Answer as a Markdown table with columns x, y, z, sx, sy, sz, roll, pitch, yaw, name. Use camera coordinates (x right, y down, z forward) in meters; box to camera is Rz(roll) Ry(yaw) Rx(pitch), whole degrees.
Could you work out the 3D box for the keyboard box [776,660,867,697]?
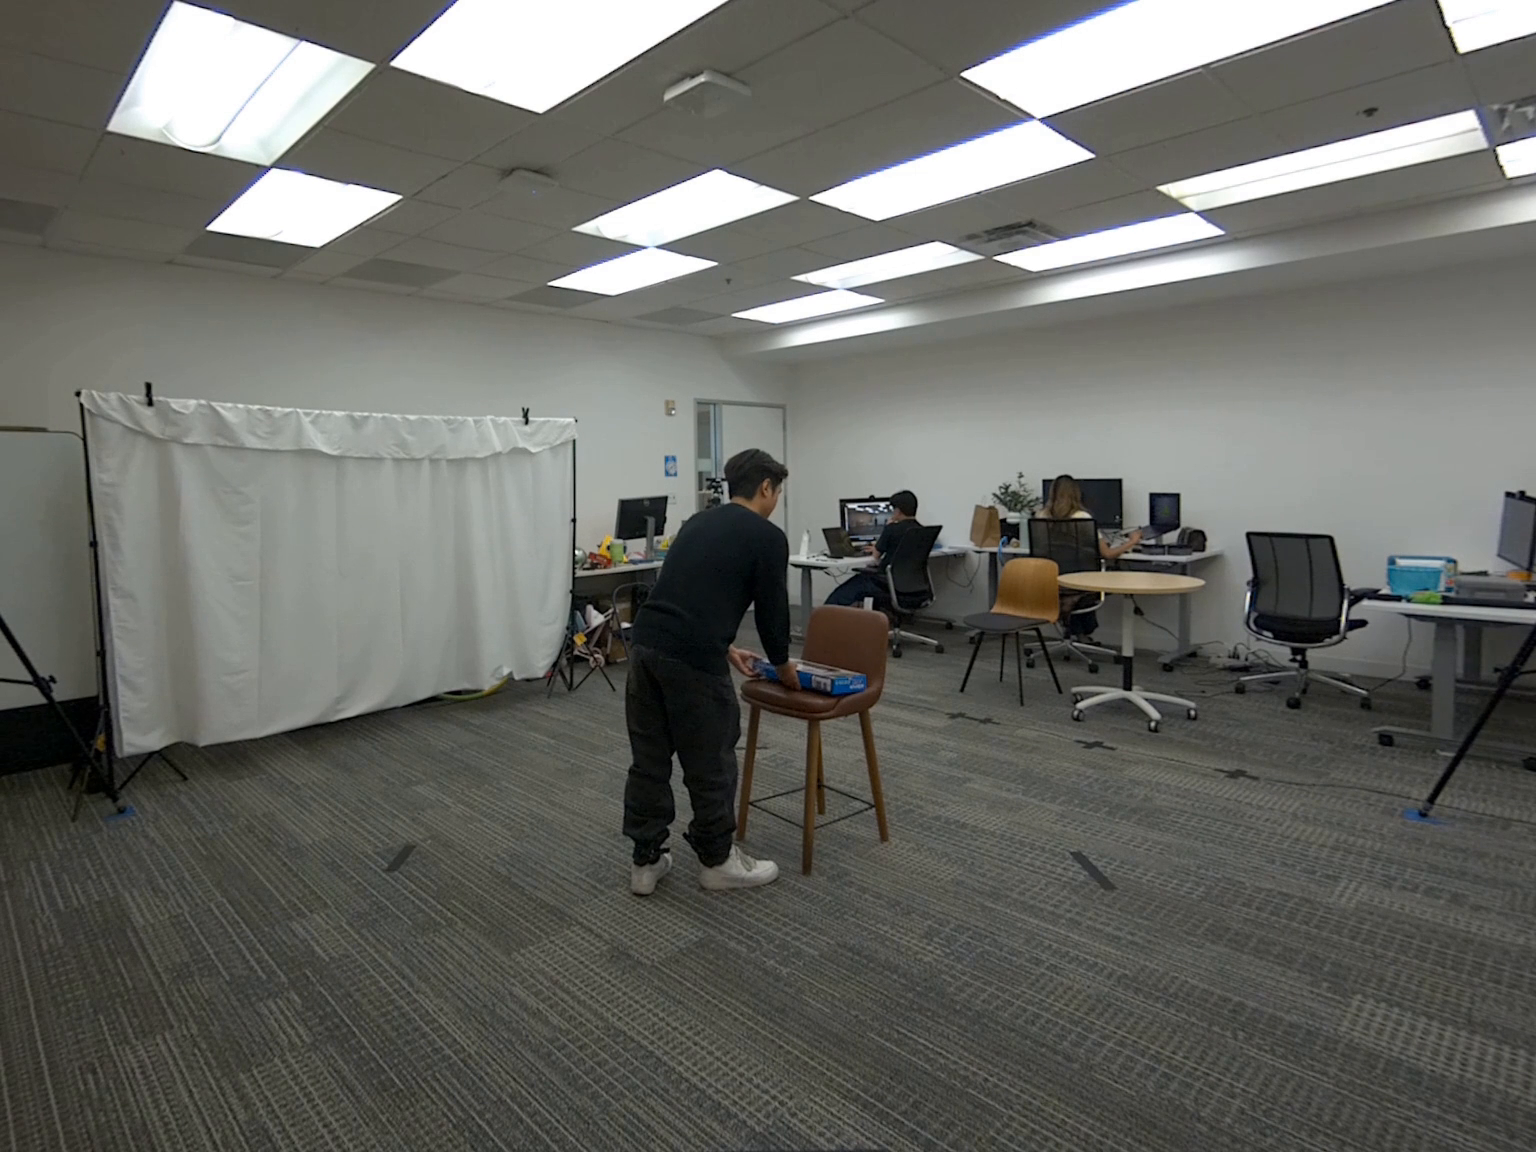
| x | y | z | sx | sy | sz | roll | pitch | yaw | name |
| --- | --- | --- | --- | --- | --- | --- | --- | --- | --- |
| 0.149 | 0.366 | 3.228 | 0.171 | 0.059 | 0.451 | 0 | 5 | -40 | keyboard box |
